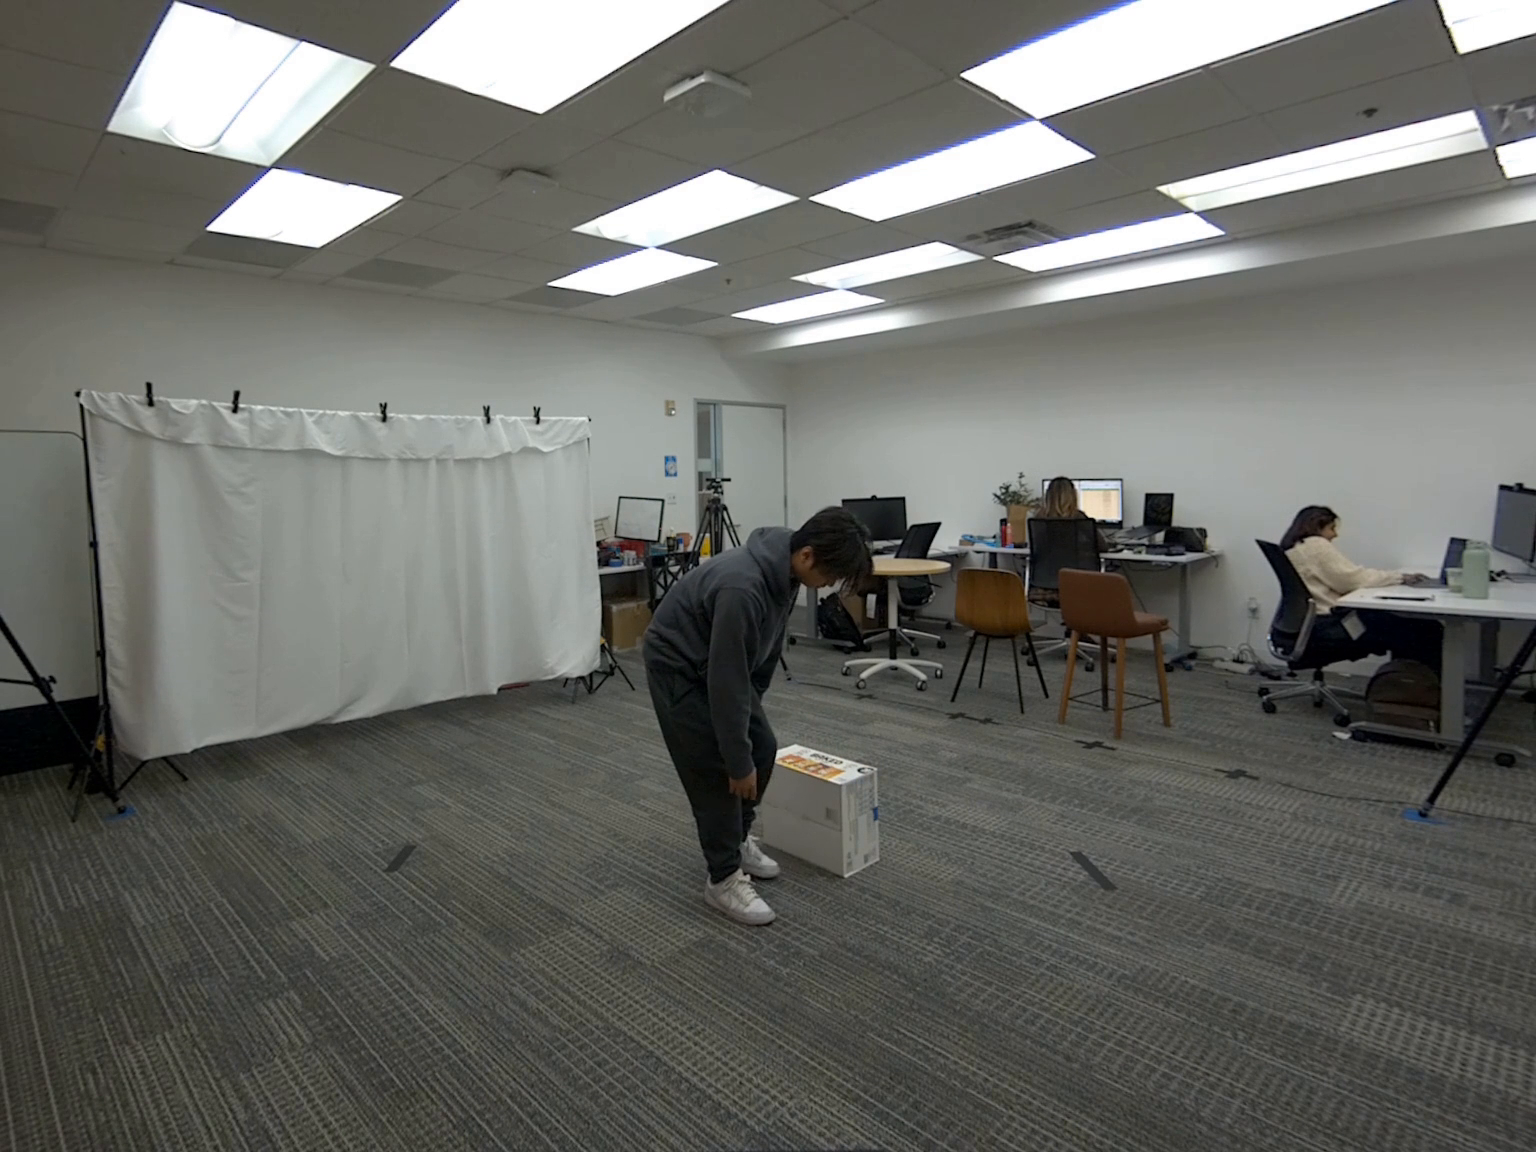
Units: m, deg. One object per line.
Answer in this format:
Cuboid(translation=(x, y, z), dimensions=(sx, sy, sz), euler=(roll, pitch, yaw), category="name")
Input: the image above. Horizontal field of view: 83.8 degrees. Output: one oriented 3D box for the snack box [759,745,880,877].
Cuboid(translation=(0.193, 0.863, 3.180), dimensions=(0.200, 0.339, 0.418), euler=(-7, 8, -43), category="snack box")
